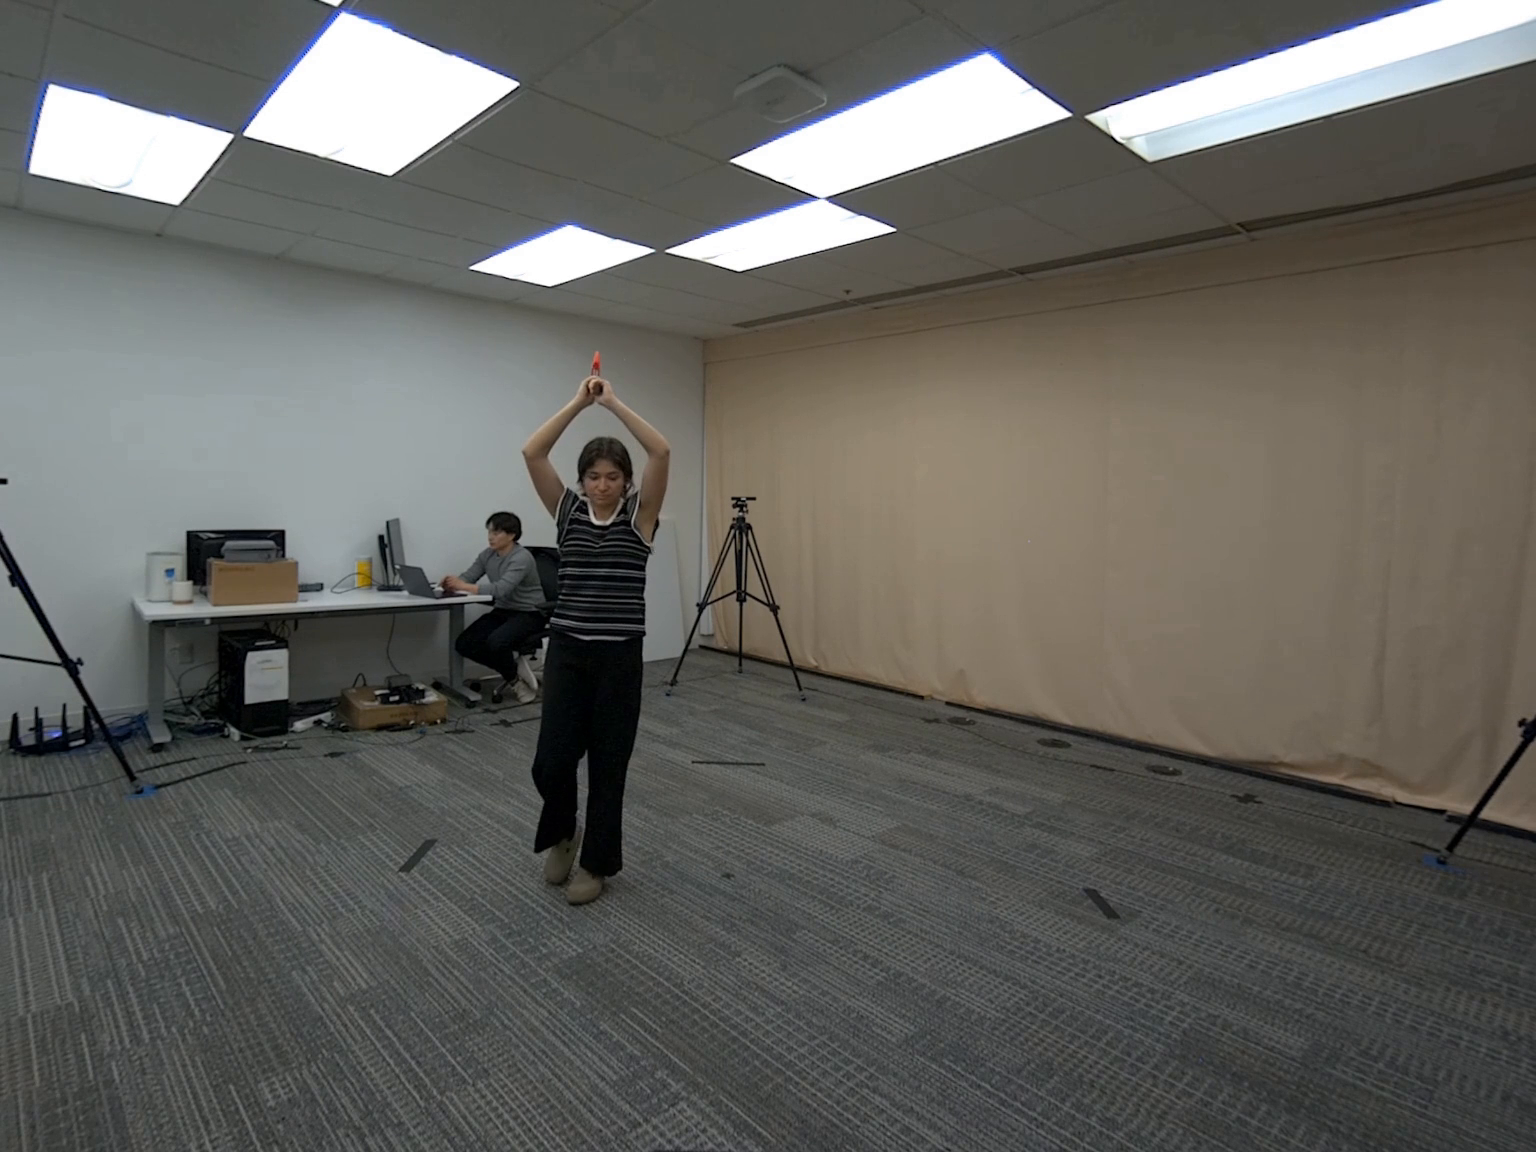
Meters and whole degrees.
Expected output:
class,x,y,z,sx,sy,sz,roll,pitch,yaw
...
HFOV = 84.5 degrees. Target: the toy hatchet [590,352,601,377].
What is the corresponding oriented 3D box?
class,x,y,z,sx,sy,sz,roll,pitch,yaw
toy hatchet,-0.598,-0.700,2.872,0.029,0.130,0.275,3,15,-12
